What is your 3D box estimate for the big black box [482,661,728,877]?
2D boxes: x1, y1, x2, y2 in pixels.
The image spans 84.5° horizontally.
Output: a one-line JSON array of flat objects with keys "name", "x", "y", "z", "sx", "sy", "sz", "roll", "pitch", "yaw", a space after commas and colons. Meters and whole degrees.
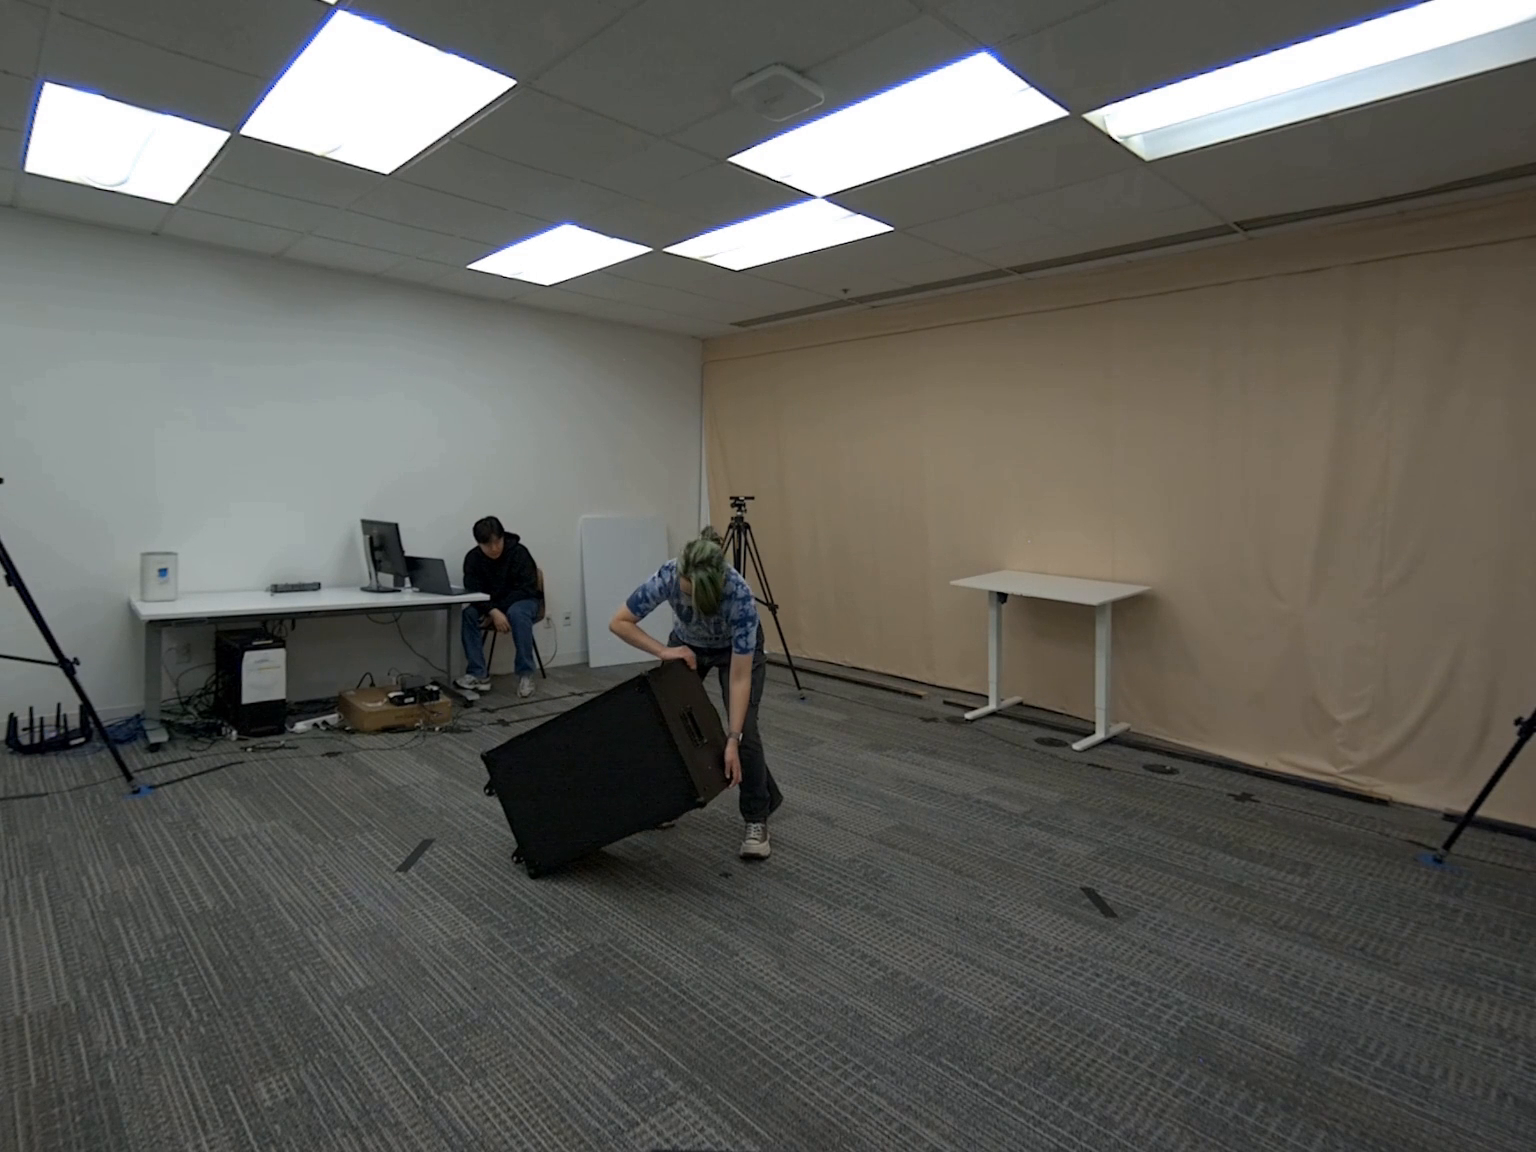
[{"name": "big black box", "x": -0.609, "y": 0.704, "z": 3.109, "sx": 0.867, "sy": 0.526, "sz": 0.390, "roll": -28, "pitch": -8, "yaw": 22}]
